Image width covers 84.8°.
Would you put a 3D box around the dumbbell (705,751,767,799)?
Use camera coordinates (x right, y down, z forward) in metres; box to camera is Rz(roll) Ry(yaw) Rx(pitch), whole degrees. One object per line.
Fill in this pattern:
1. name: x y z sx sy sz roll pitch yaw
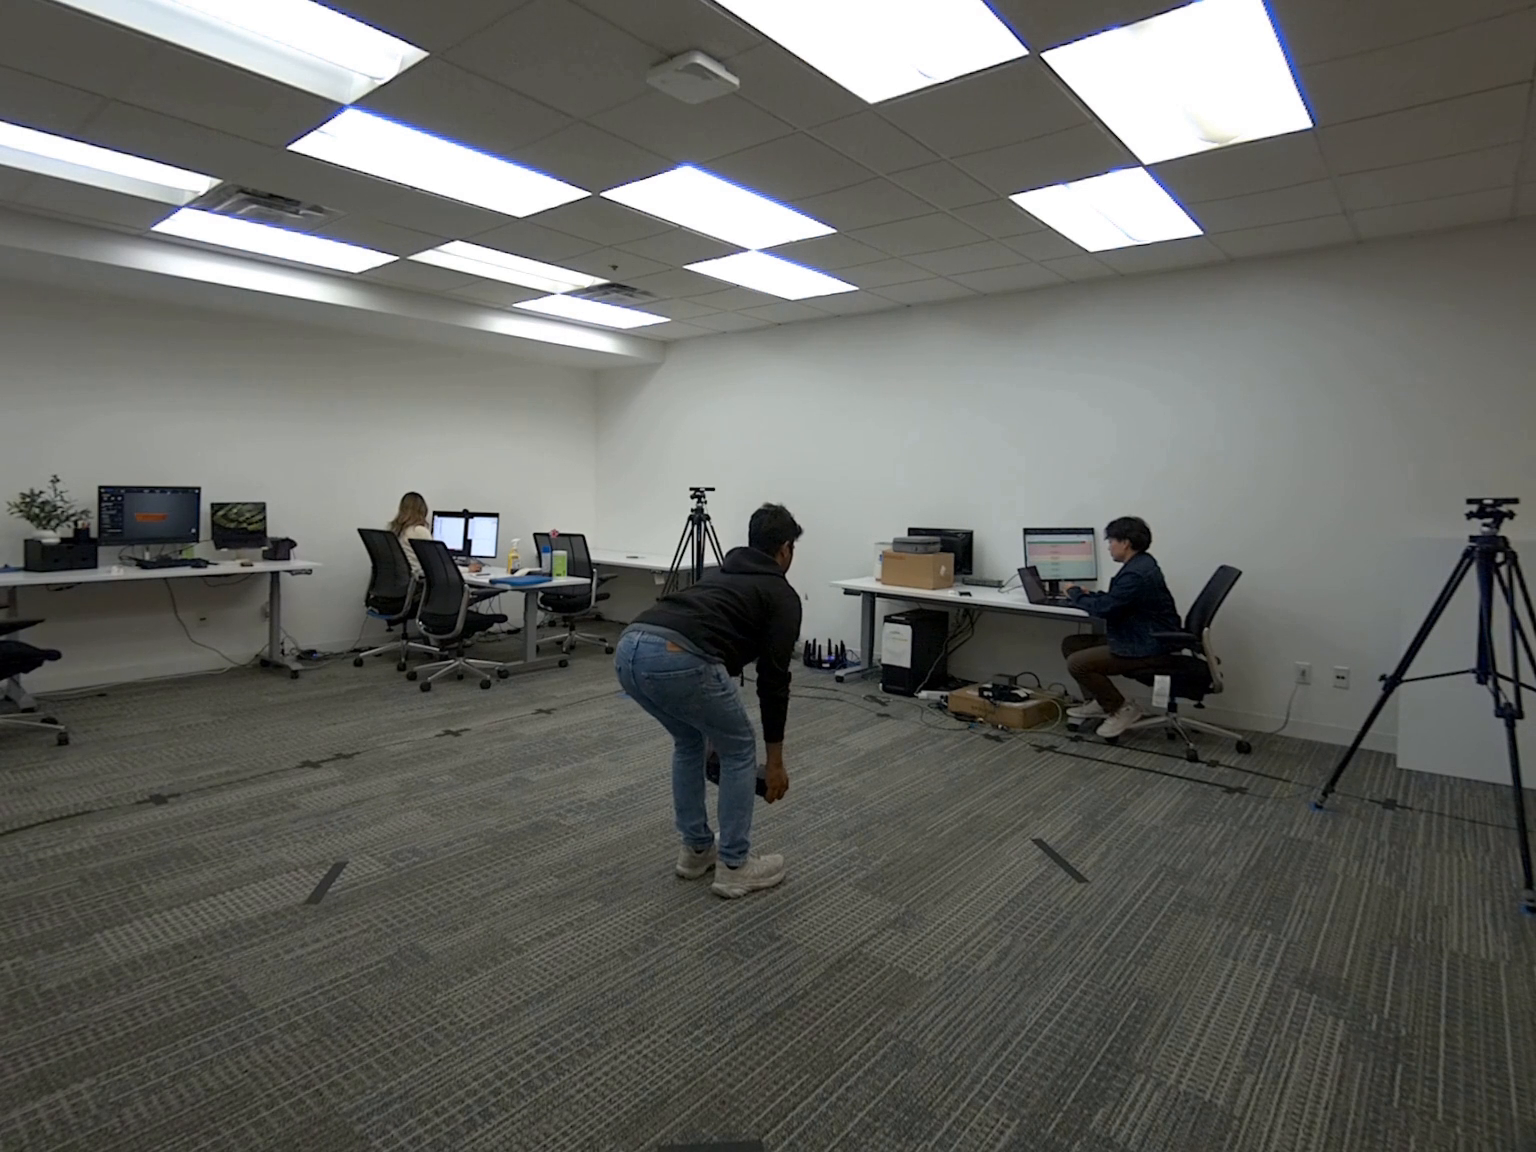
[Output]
1. dumbbell: -0.101 0.731 3.106 0.304 0.105 0.122 8 38 42
